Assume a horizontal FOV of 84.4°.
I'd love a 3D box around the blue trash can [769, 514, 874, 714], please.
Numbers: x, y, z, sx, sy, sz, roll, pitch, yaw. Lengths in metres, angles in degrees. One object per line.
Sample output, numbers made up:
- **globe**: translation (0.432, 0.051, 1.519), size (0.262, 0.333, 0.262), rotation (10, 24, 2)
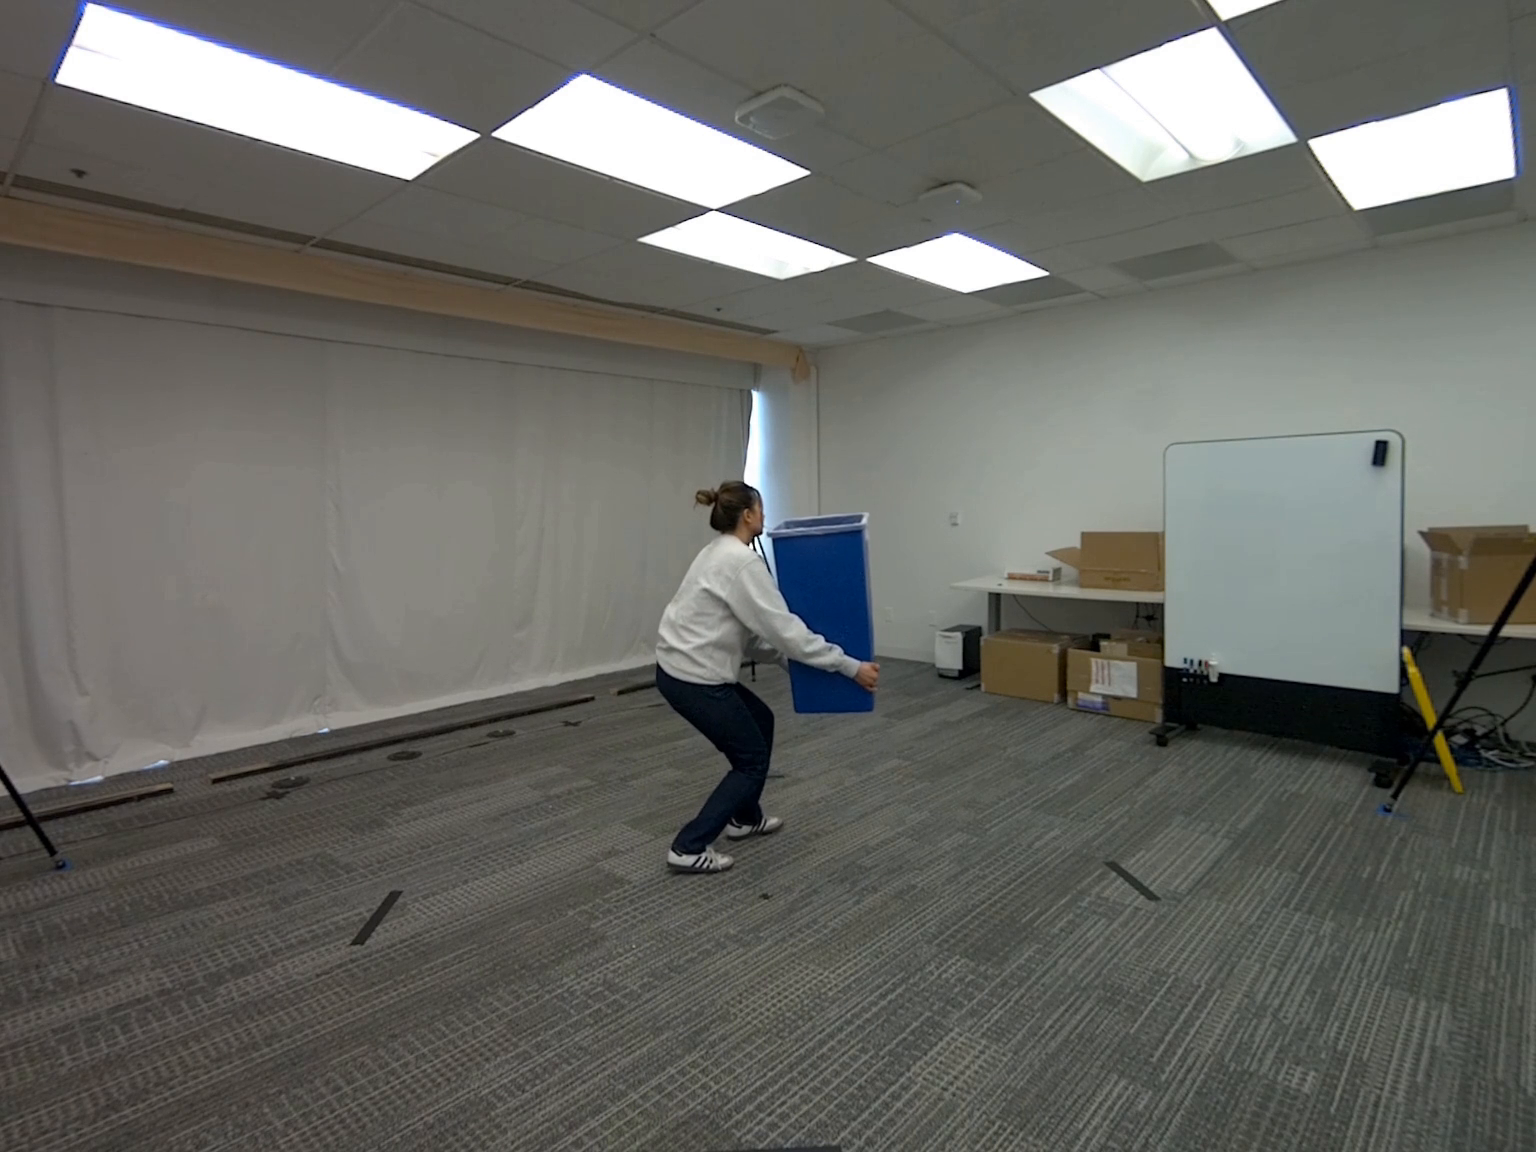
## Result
- **blue trash can**: translation (0.238, 0.142, 3.271), size (0.379, 0.710, 0.375), rotation (-4, 7, 11)
